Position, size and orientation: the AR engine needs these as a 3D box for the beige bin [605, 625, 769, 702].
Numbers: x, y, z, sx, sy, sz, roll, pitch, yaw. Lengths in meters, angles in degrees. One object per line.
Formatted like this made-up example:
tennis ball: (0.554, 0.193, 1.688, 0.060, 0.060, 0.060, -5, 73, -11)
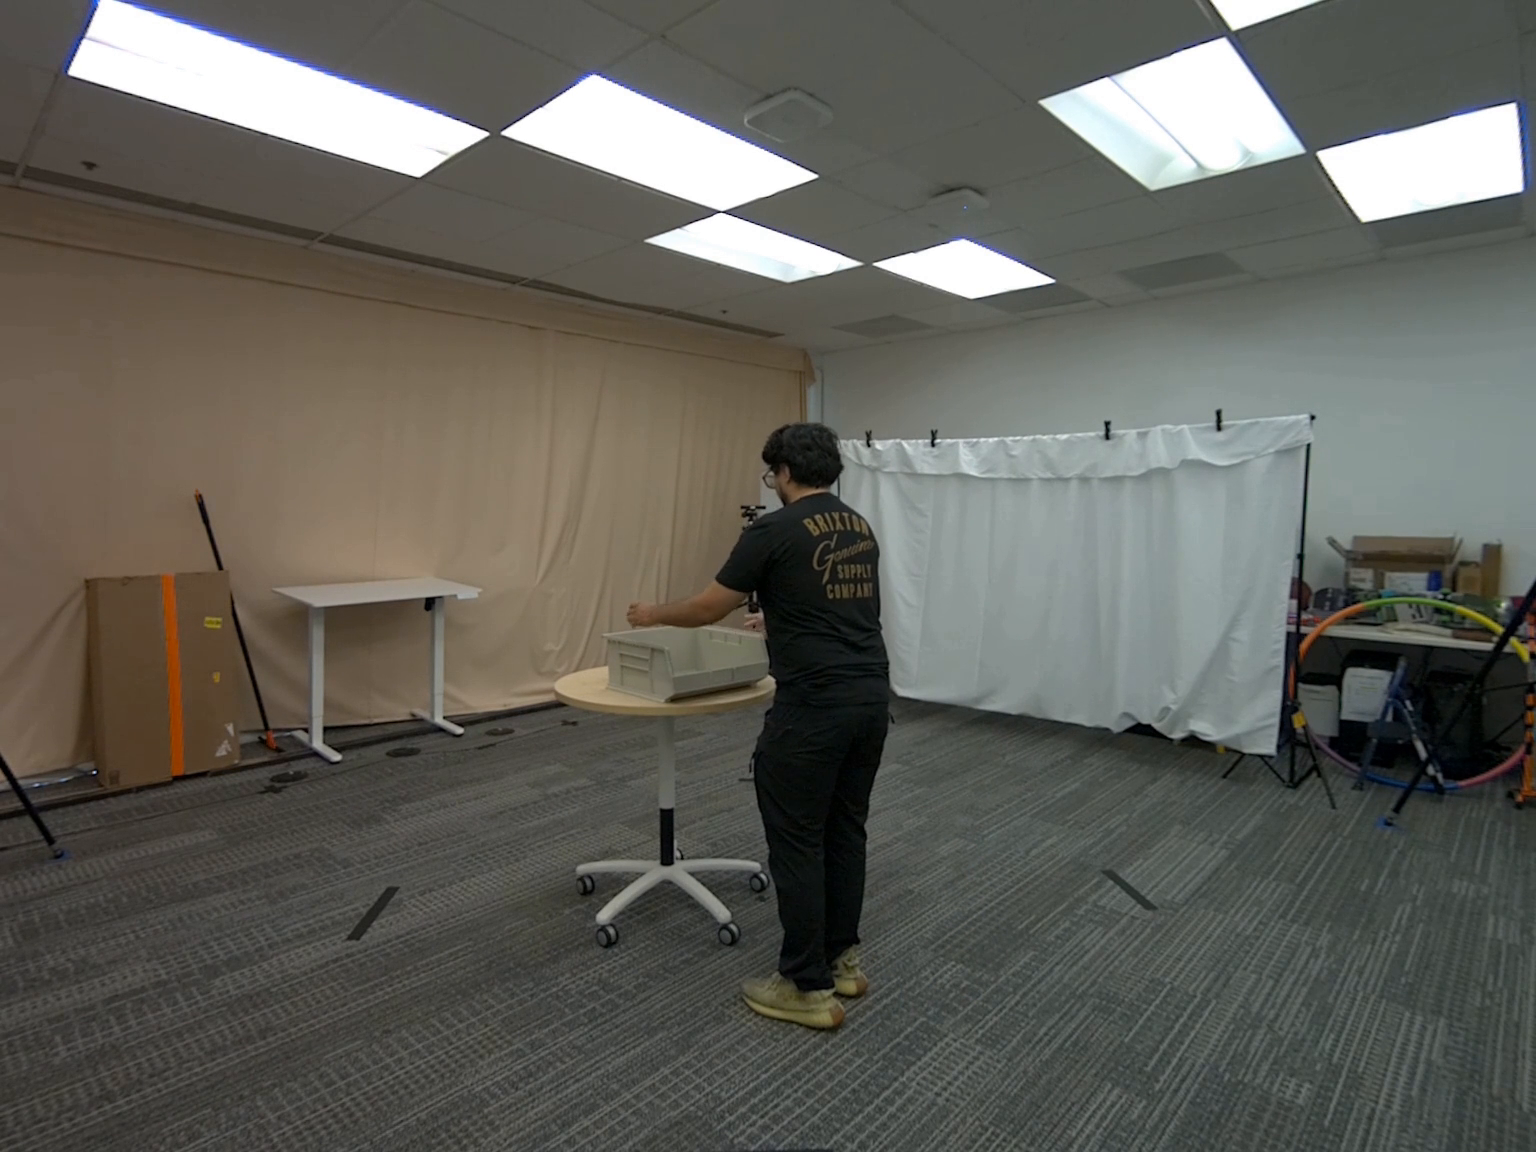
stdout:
beige bin: (-0.275, 0.290, 2.823, 0.409, 0.189, 0.389, -4, 4, -44)
